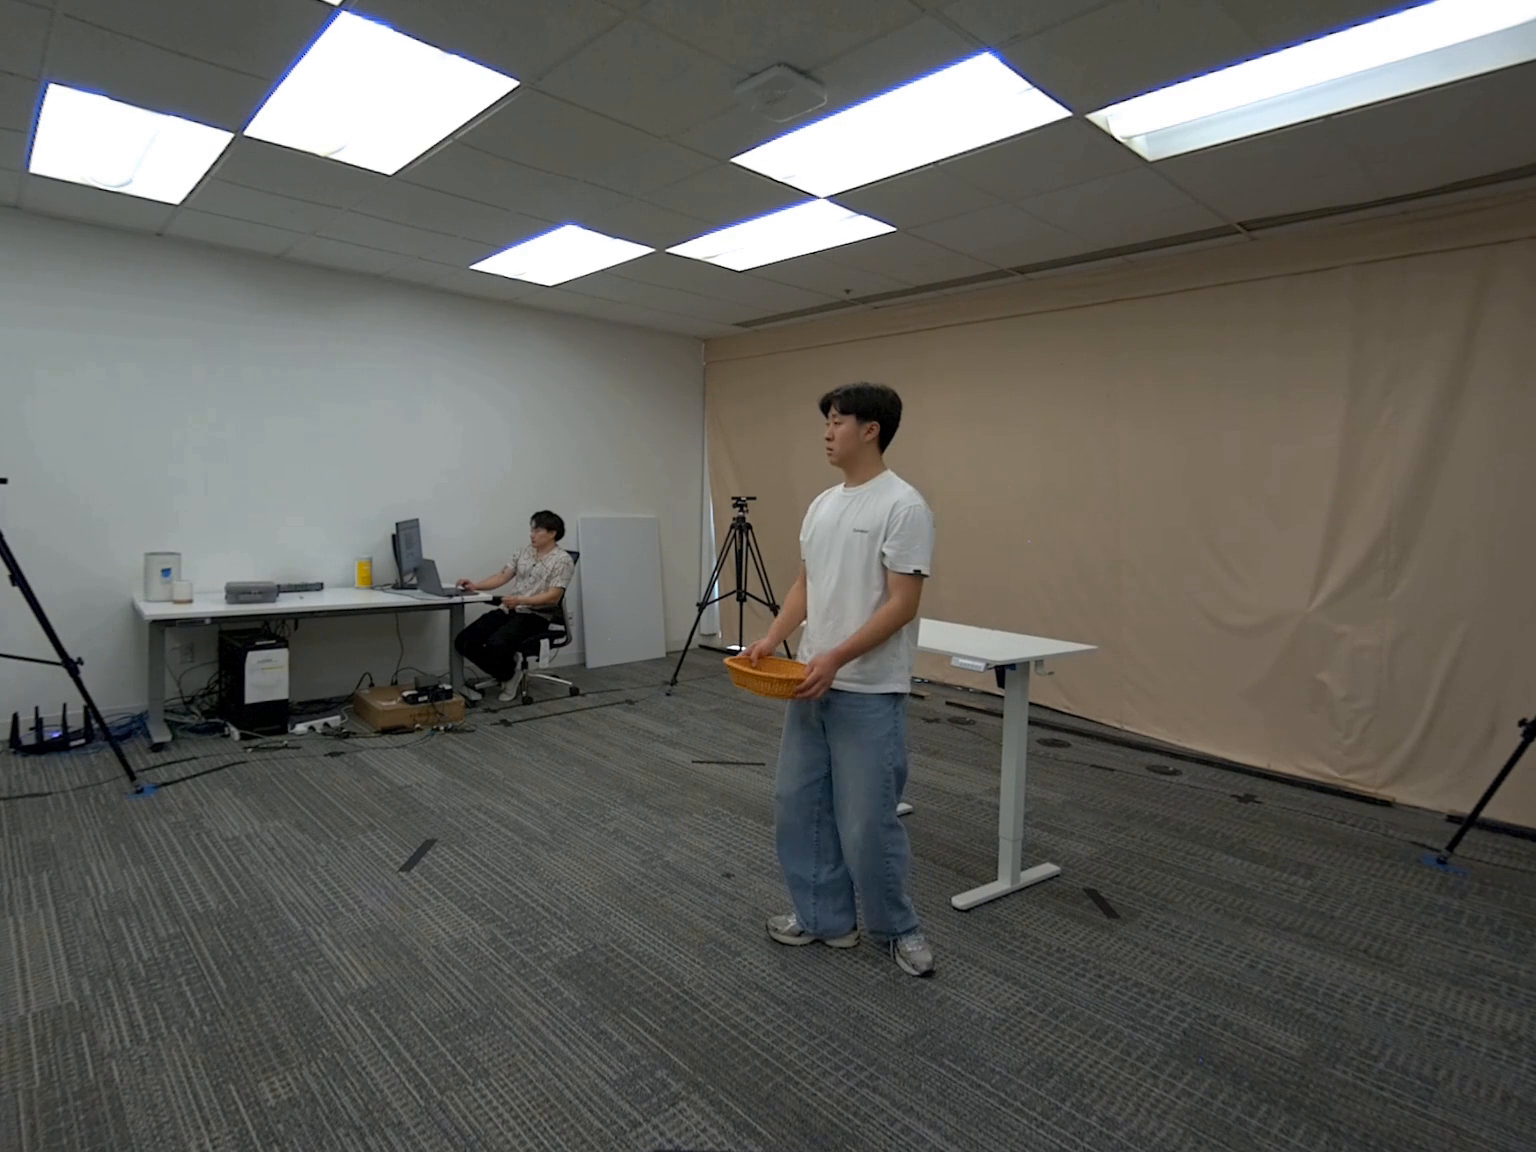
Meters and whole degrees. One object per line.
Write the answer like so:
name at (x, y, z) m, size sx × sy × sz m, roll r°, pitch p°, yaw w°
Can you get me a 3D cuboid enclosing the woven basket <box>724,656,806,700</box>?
woven basket at (0.038, 0.298, 2.424) m, size 0.247 × 0.073 × 0.358 m, roll 2°, pitch 3°, yaw -32°
